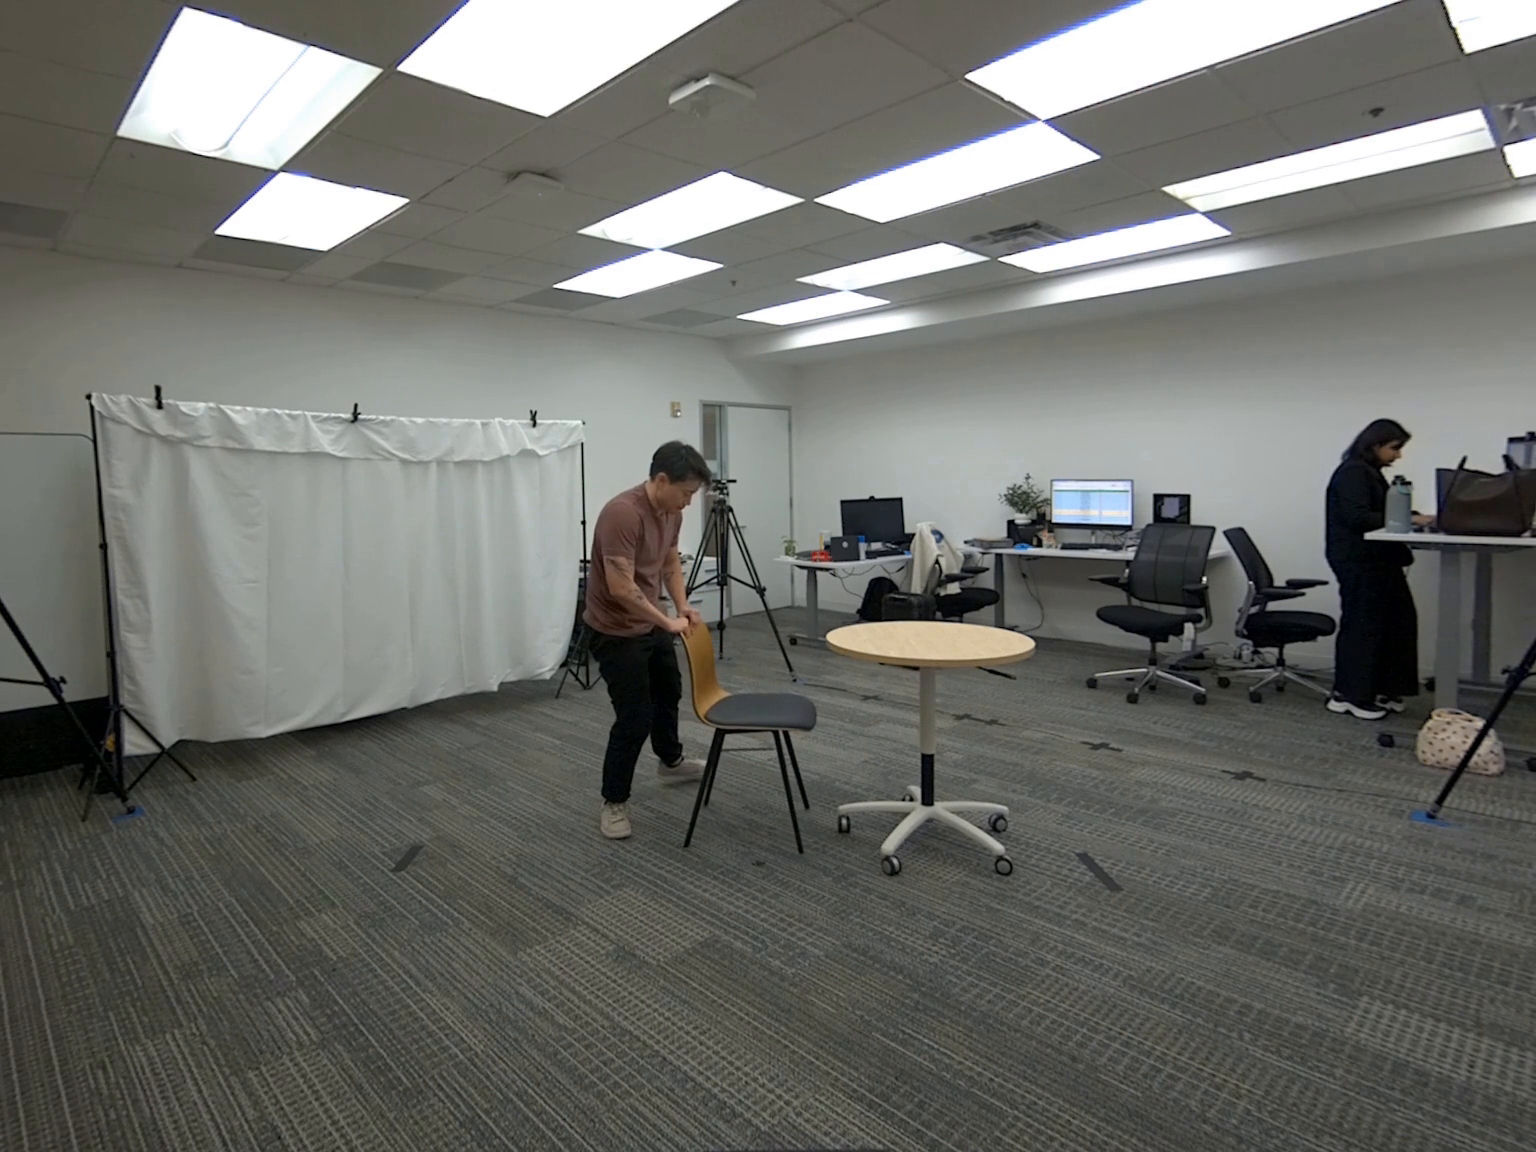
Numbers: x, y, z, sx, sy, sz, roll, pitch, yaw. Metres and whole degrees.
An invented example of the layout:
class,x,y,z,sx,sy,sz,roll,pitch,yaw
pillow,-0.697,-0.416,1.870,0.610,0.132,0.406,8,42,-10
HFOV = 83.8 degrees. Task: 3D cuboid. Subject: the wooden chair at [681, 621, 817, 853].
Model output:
class,x,y,z,sx,sy,sz,roll,pitch,yaw
wooden chair,-0.069,0.585,3.407,0.528,0.875,0.475,-5,3,9
